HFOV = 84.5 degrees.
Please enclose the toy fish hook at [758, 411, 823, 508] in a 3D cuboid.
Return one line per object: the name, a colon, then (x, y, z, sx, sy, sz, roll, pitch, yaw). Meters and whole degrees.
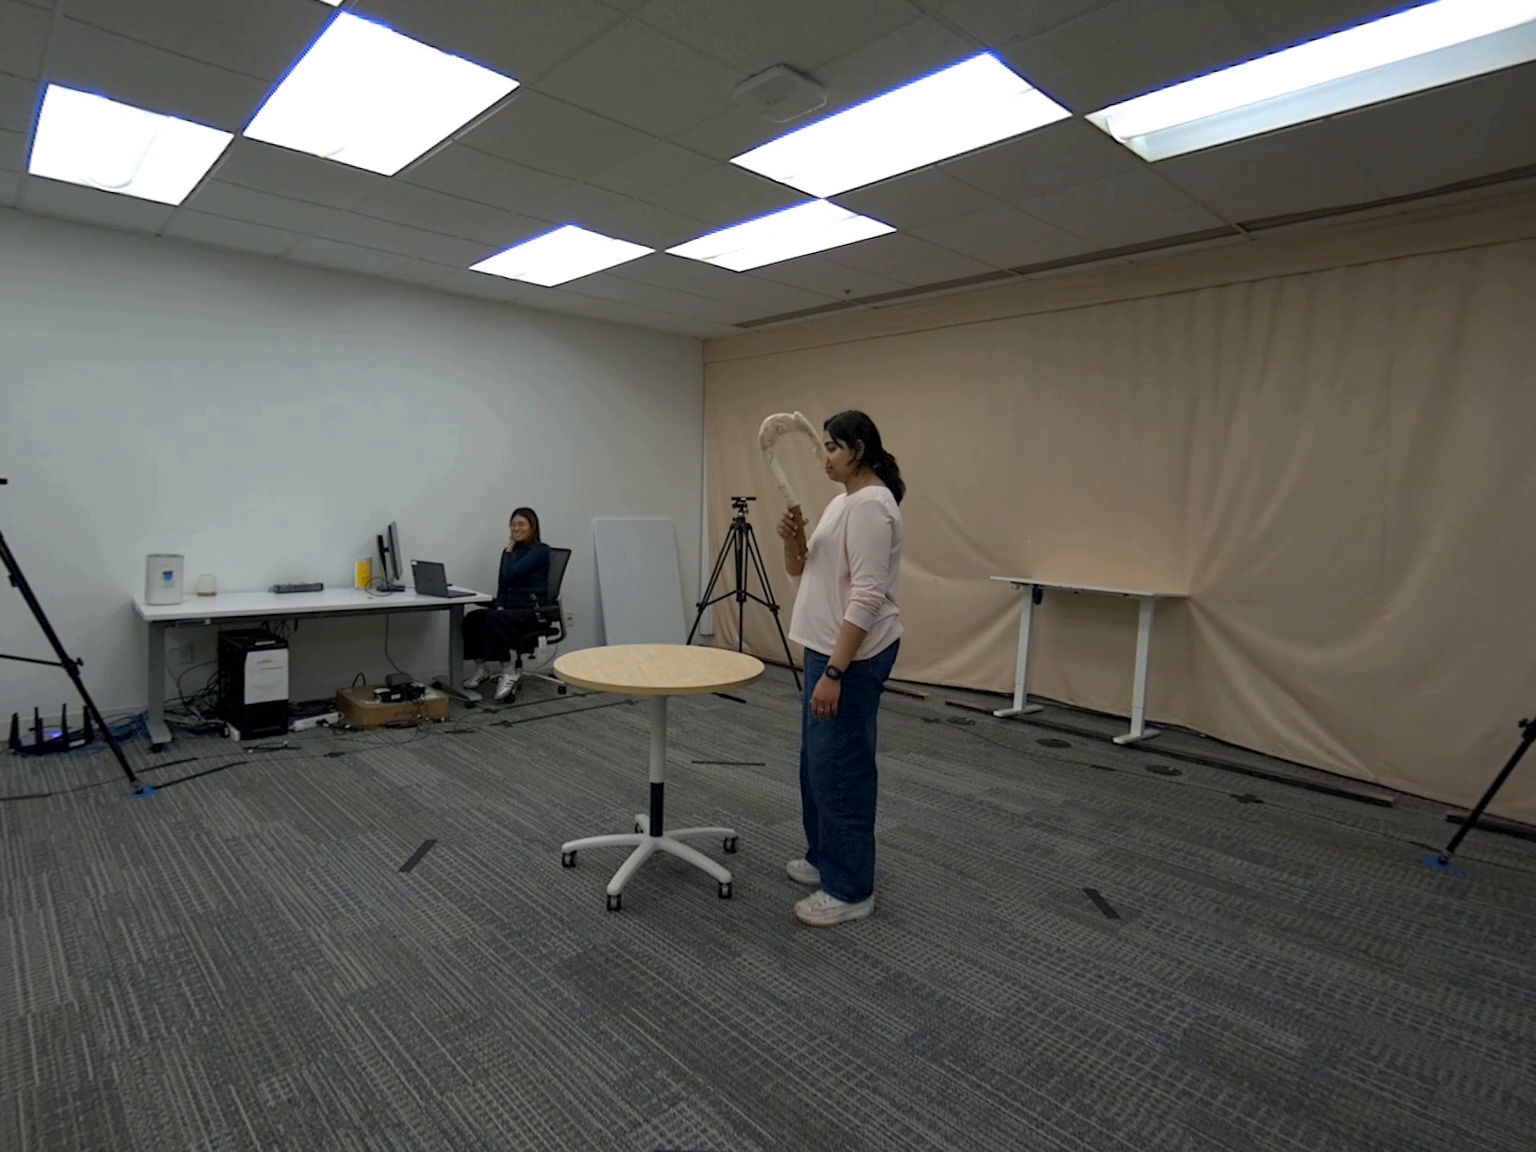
toy fish hook: (0.106, -0.273, 2.691, 0.229, 0.497, 0.048, 0, 27, 34)
